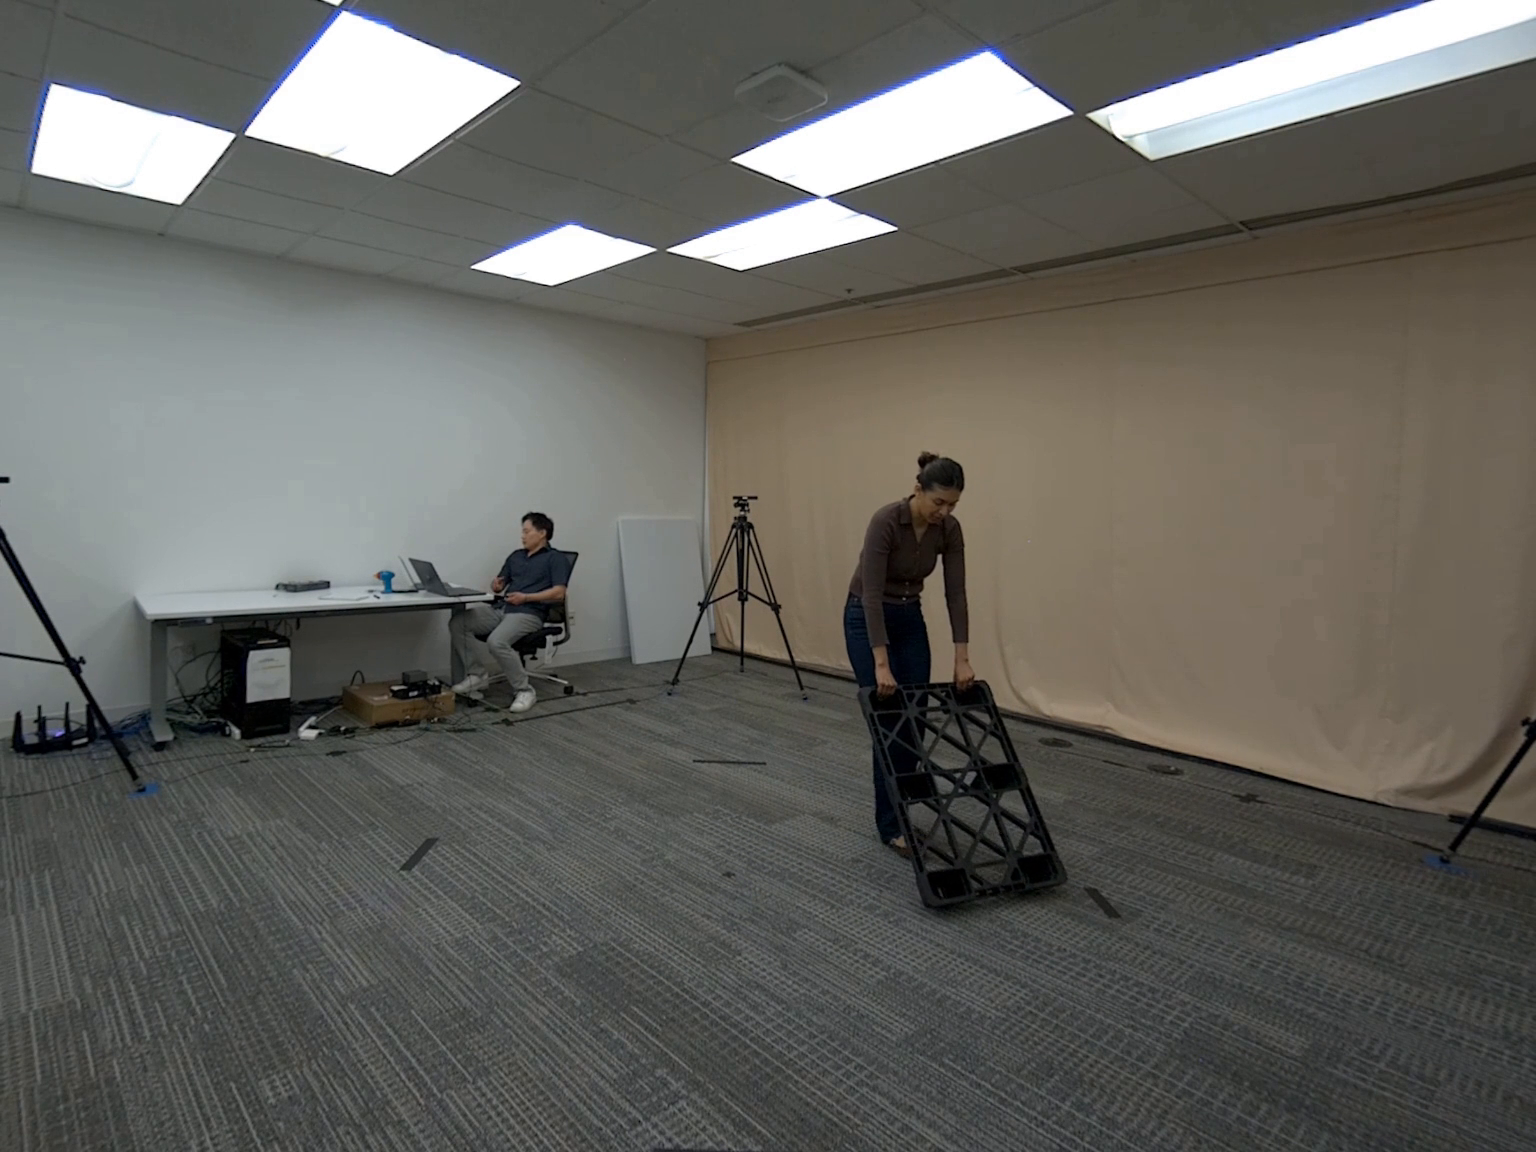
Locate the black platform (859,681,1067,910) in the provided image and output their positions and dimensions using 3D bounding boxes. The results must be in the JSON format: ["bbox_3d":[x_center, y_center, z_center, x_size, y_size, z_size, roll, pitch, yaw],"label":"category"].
[{"bbox_3d":[0.689,0.787,3.153,0.594,0.825,0.142,1,-35,-24],"label":"black platform"}]
